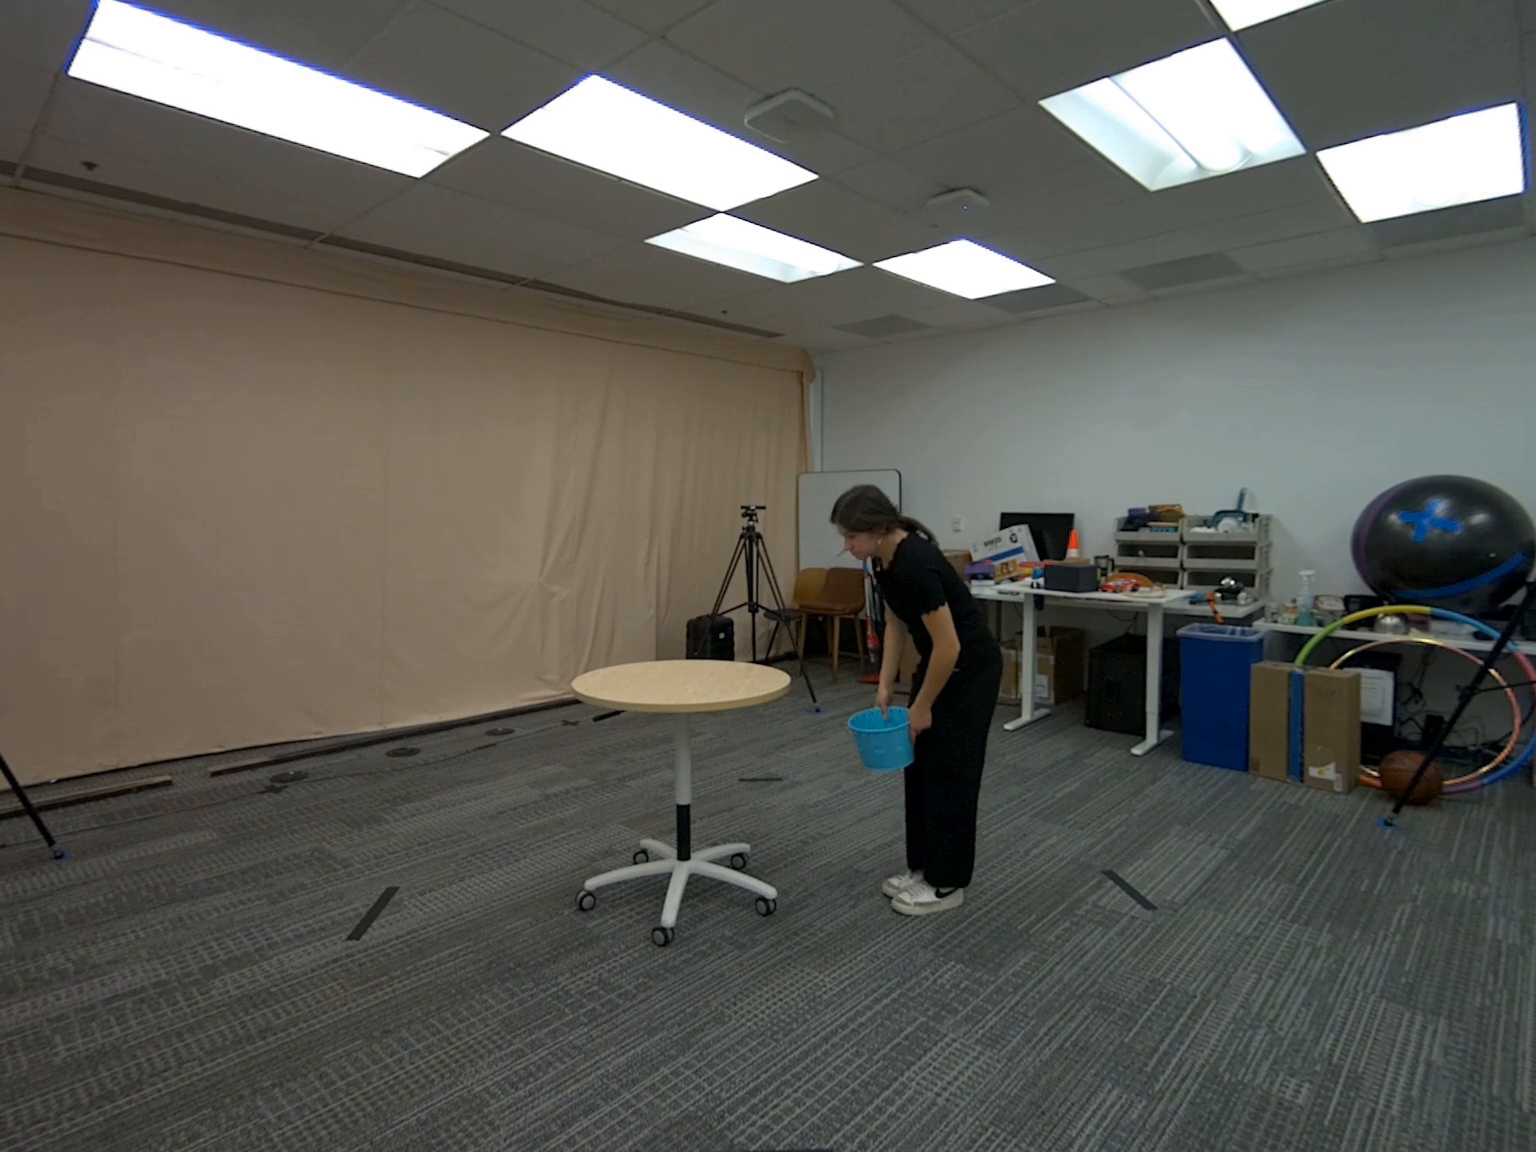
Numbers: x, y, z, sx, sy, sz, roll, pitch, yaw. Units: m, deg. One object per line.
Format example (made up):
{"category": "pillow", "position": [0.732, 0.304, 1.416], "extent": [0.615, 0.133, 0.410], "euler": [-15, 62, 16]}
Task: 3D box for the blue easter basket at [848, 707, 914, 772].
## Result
{"category": "blue easter basket", "position": [0.403, 0.583, 2.912], "extent": [0.244, 0.155, 0.245], "euler": [-10, 8, -1]}
